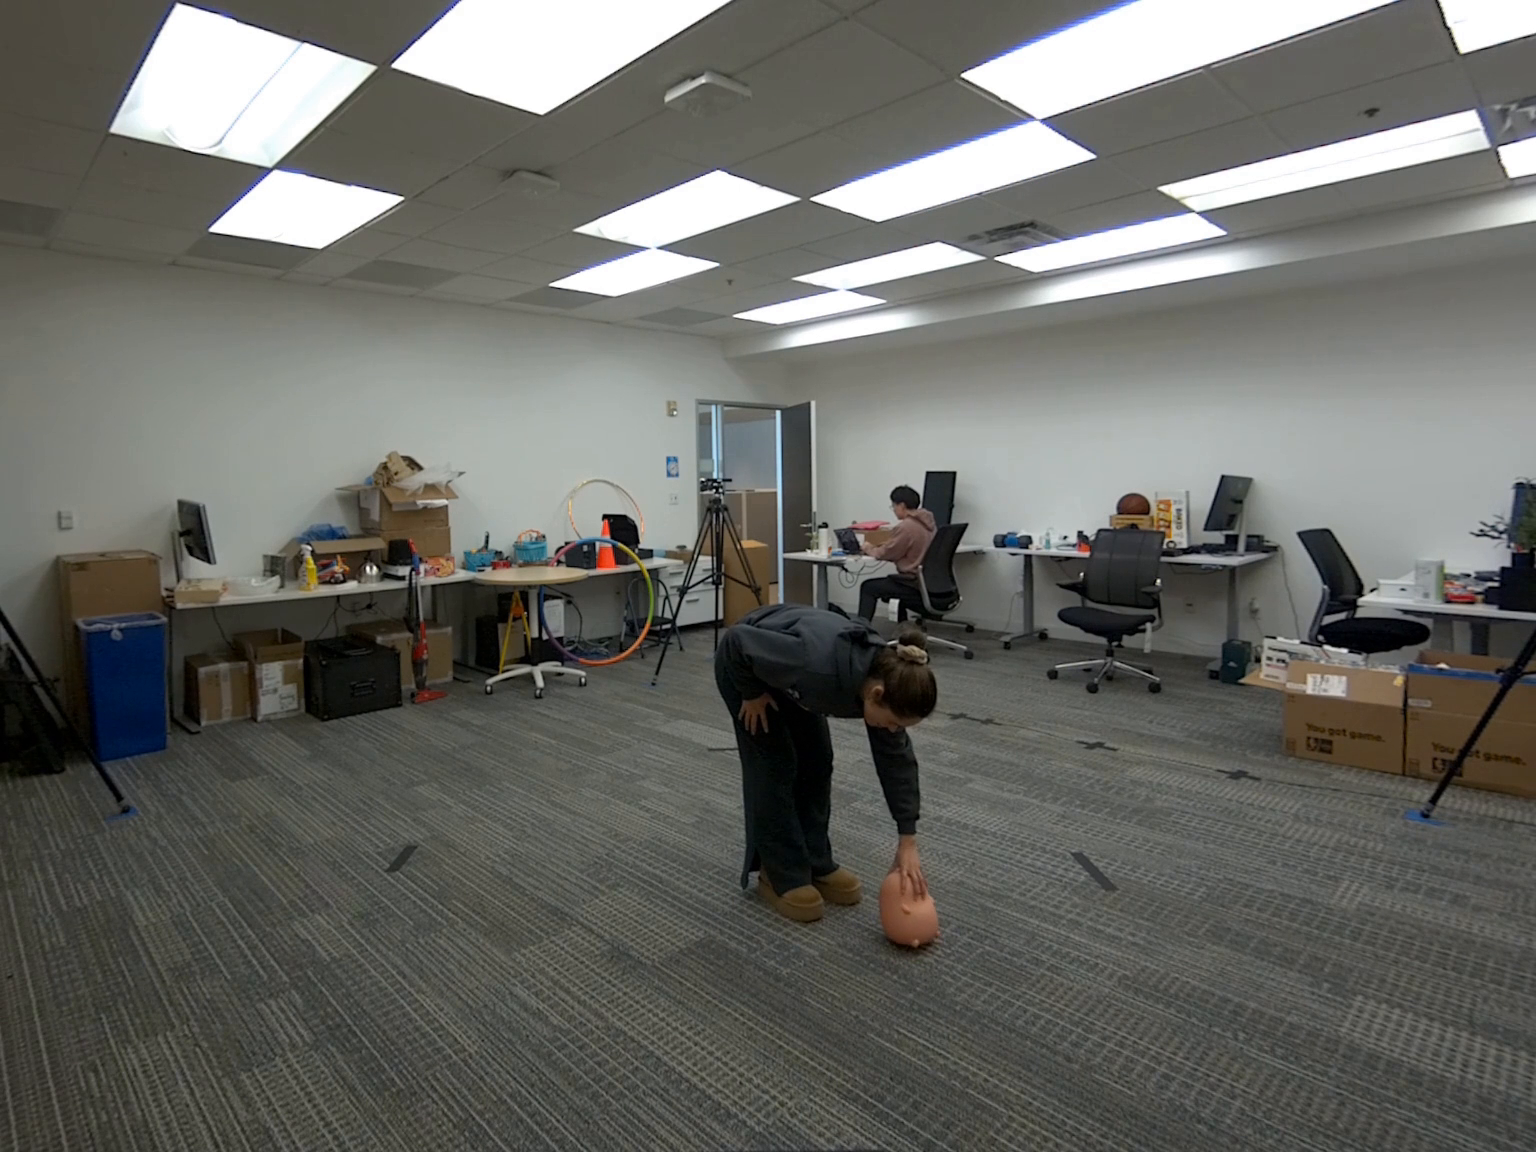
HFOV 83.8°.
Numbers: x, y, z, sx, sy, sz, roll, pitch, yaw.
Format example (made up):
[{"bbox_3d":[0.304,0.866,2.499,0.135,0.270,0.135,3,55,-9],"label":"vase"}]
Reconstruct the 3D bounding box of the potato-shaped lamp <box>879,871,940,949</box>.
[{"bbox_3d":[0.423,0.999,2.561,0.161,0.200,0.173,-1,-13,-31],"label":"potato-shaped lamp"}]
